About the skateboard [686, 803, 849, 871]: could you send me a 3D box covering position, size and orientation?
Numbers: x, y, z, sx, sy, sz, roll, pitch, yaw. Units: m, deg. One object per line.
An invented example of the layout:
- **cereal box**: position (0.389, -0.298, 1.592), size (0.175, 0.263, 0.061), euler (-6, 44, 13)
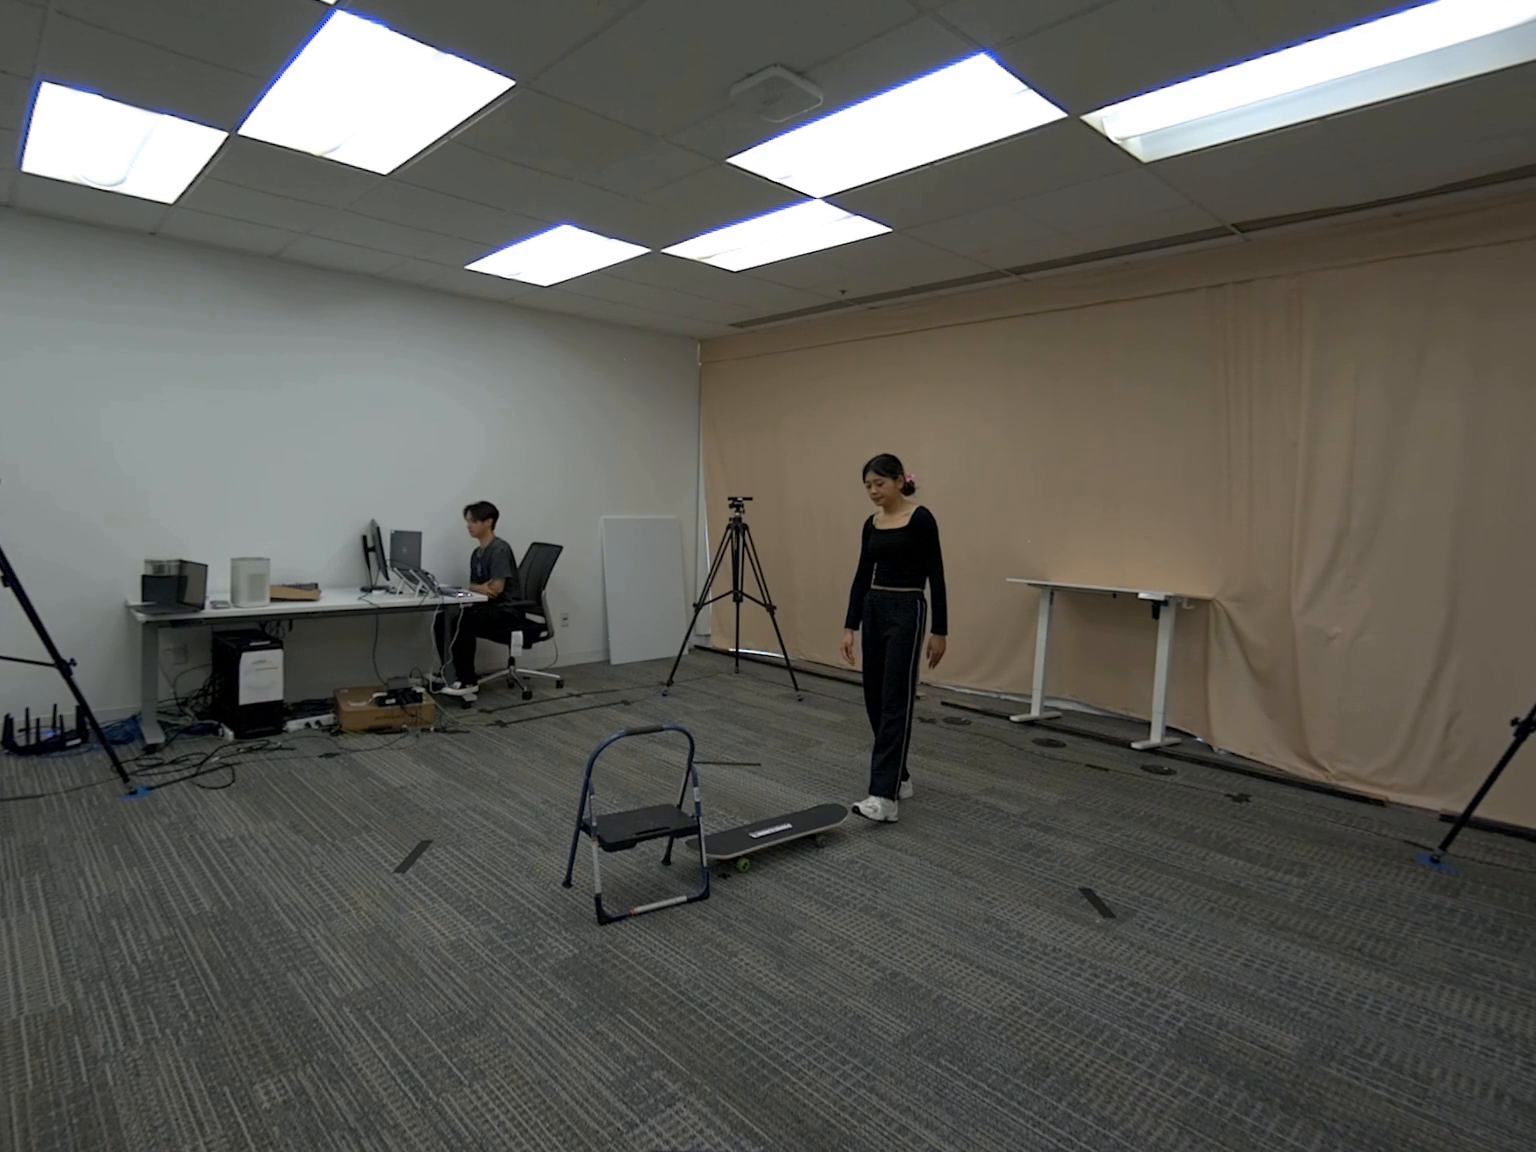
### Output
- **skateboard**: position (0.006, 1.036, 3.324), size (0.768, 0.110, 0.198), euler (-3, 7, -39)
